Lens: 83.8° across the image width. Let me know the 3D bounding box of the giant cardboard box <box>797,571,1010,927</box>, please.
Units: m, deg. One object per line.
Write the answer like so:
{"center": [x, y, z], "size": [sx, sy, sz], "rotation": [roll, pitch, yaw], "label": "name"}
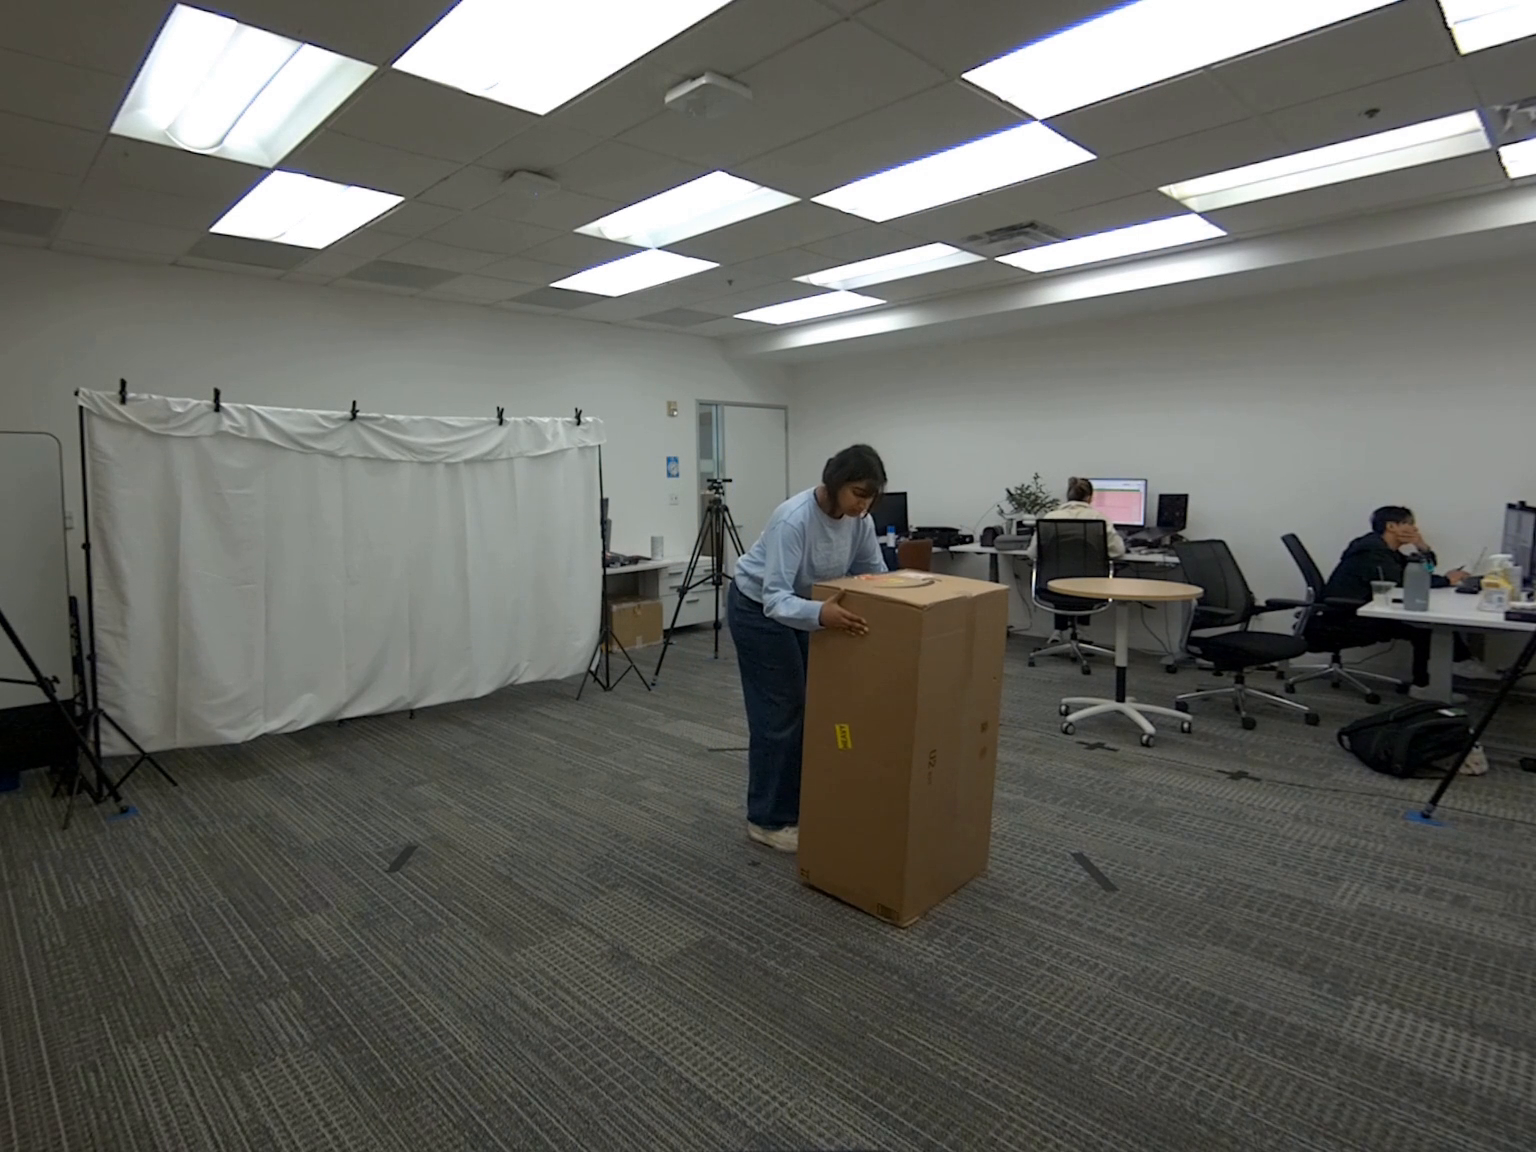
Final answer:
{"center": [0.468, 0.534, 2.925], "size": [0.461, 1.021, 0.568], "rotation": [8, 9, 43], "label": "giant cardboard box"}
